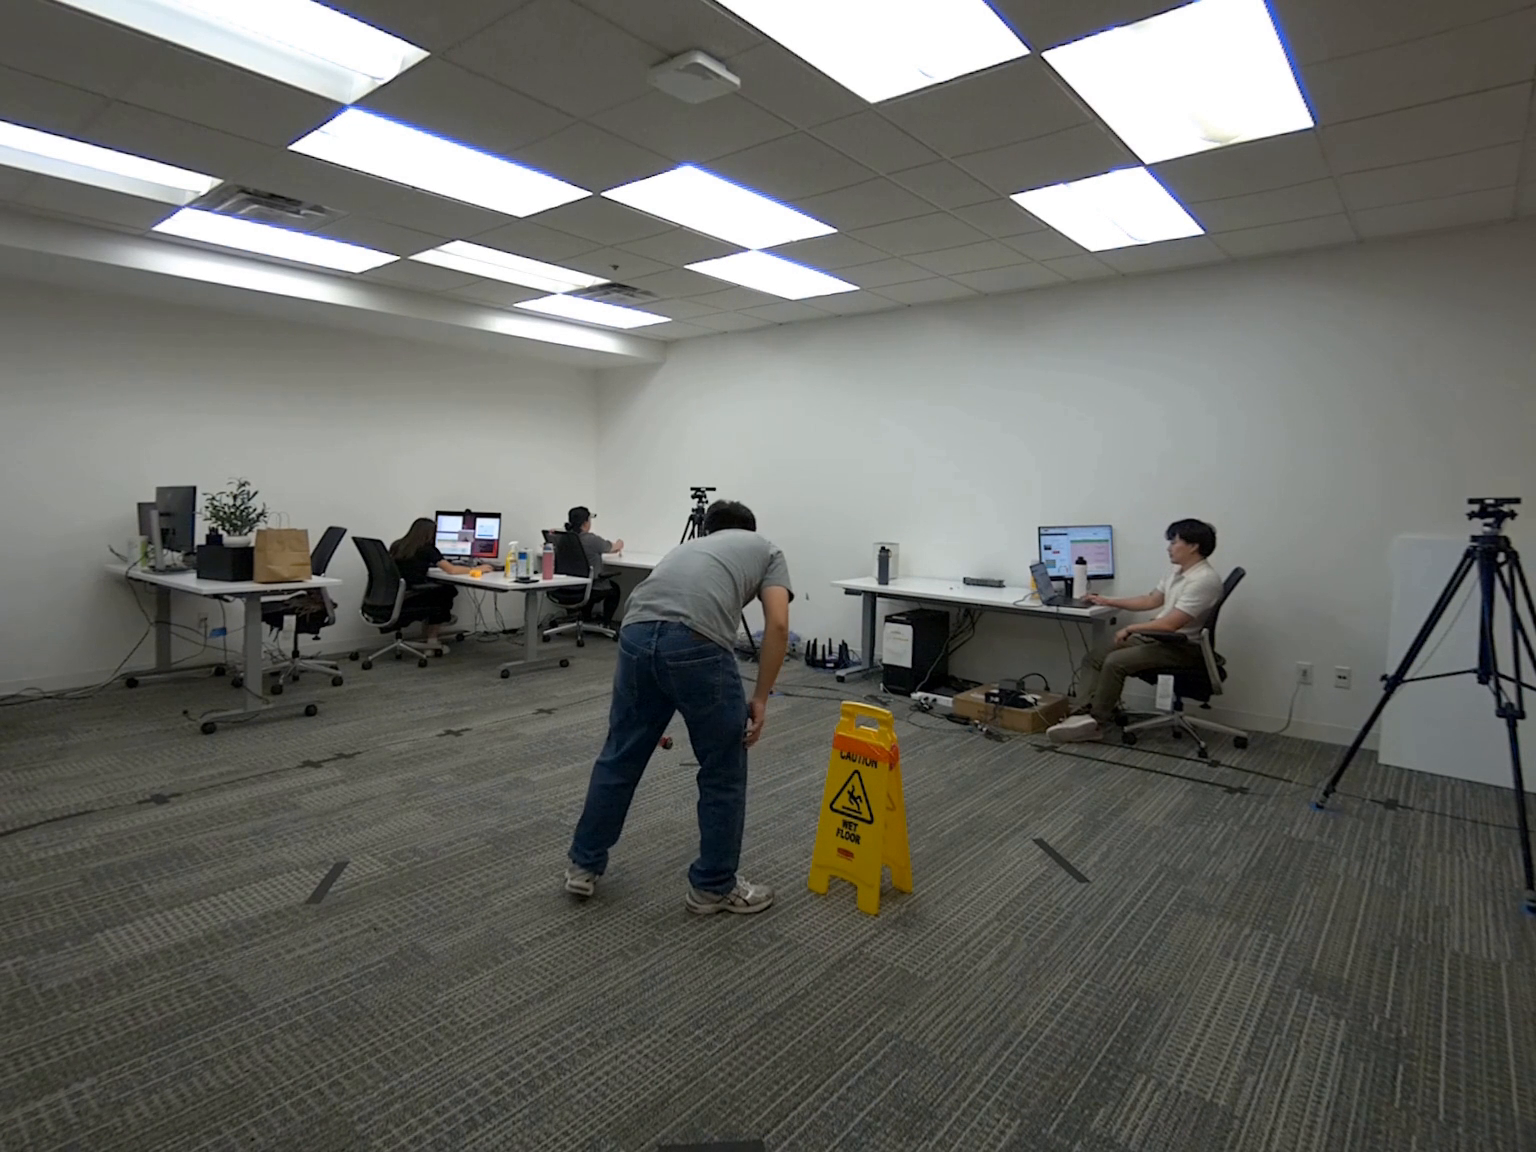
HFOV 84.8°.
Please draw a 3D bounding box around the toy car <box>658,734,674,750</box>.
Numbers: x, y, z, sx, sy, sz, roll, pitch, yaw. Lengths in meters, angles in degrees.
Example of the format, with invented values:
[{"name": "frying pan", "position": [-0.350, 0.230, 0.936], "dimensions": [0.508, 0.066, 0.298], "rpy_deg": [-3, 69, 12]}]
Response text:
[{"name": "toy car", "position": [-0.474, 0.618, 3.209], "dimensions": [0.134, 0.084, 0.244], "rpy_deg": [-3, -28, 32]}]
